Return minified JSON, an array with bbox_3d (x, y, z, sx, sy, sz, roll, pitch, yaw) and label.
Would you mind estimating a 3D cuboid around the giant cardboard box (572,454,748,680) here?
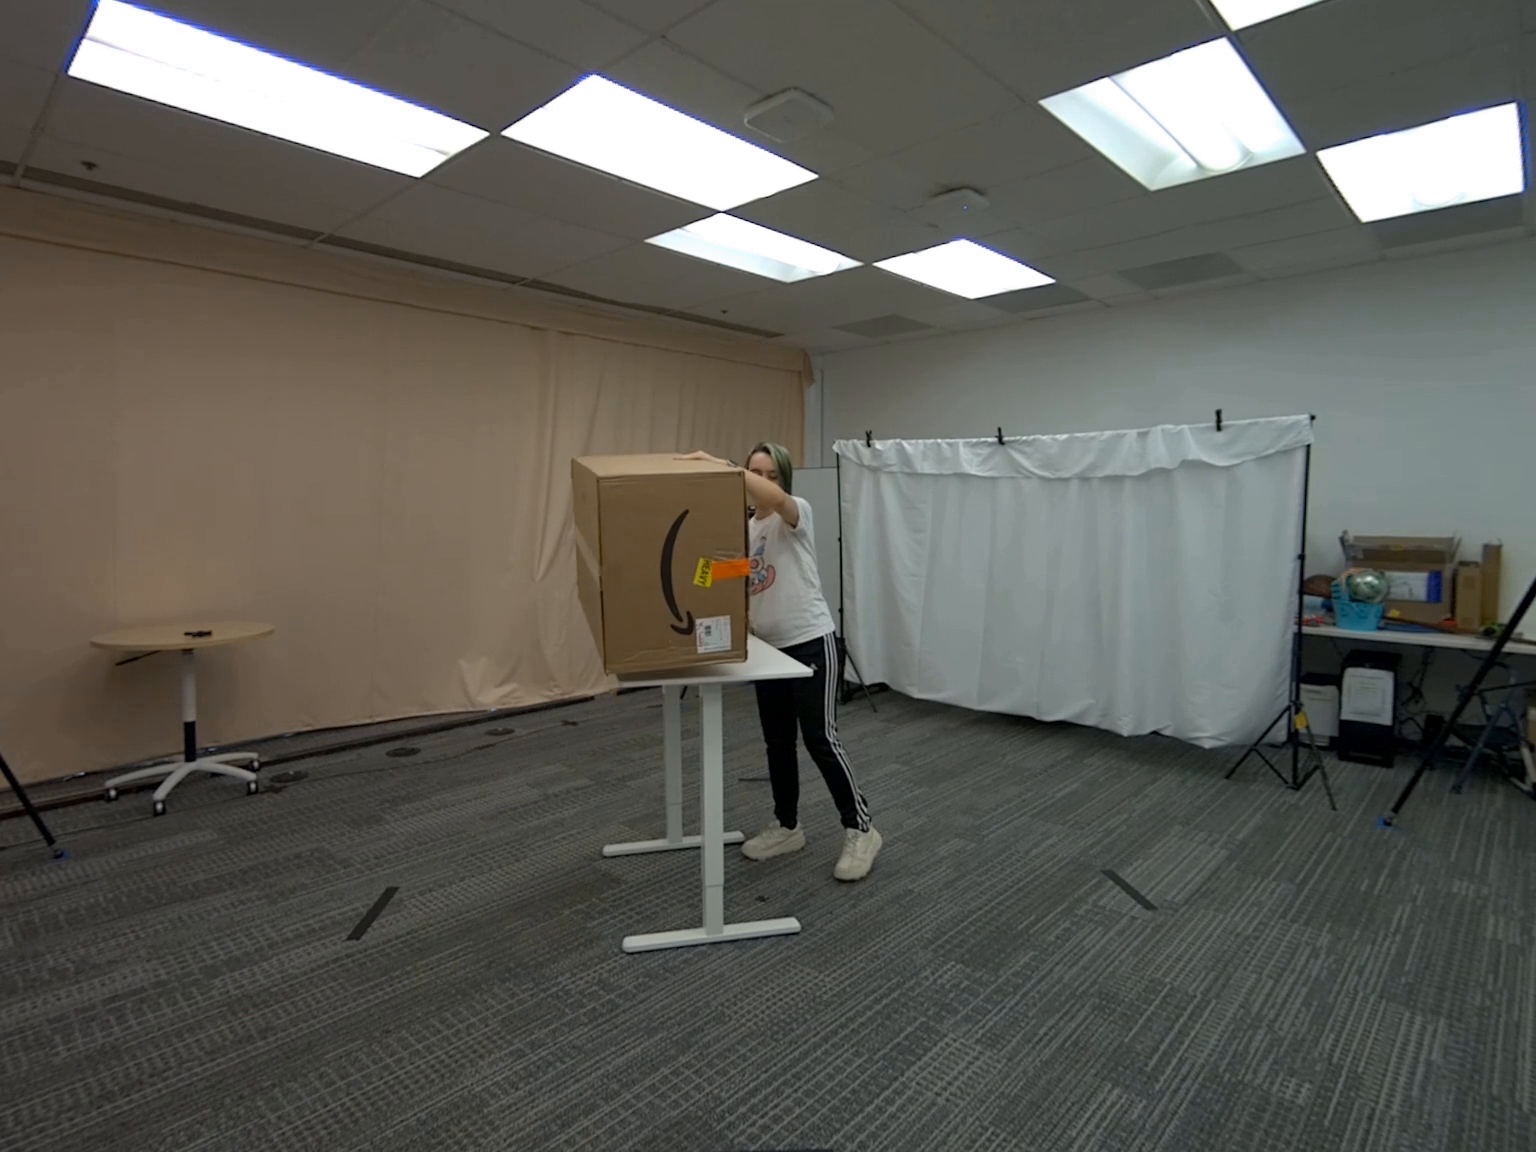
[{"bbox_3d":[-0.392,-0.108,2.902,0.441,0.580,1.047,-2,11,-13],"label":"giant cardboard box"}]
